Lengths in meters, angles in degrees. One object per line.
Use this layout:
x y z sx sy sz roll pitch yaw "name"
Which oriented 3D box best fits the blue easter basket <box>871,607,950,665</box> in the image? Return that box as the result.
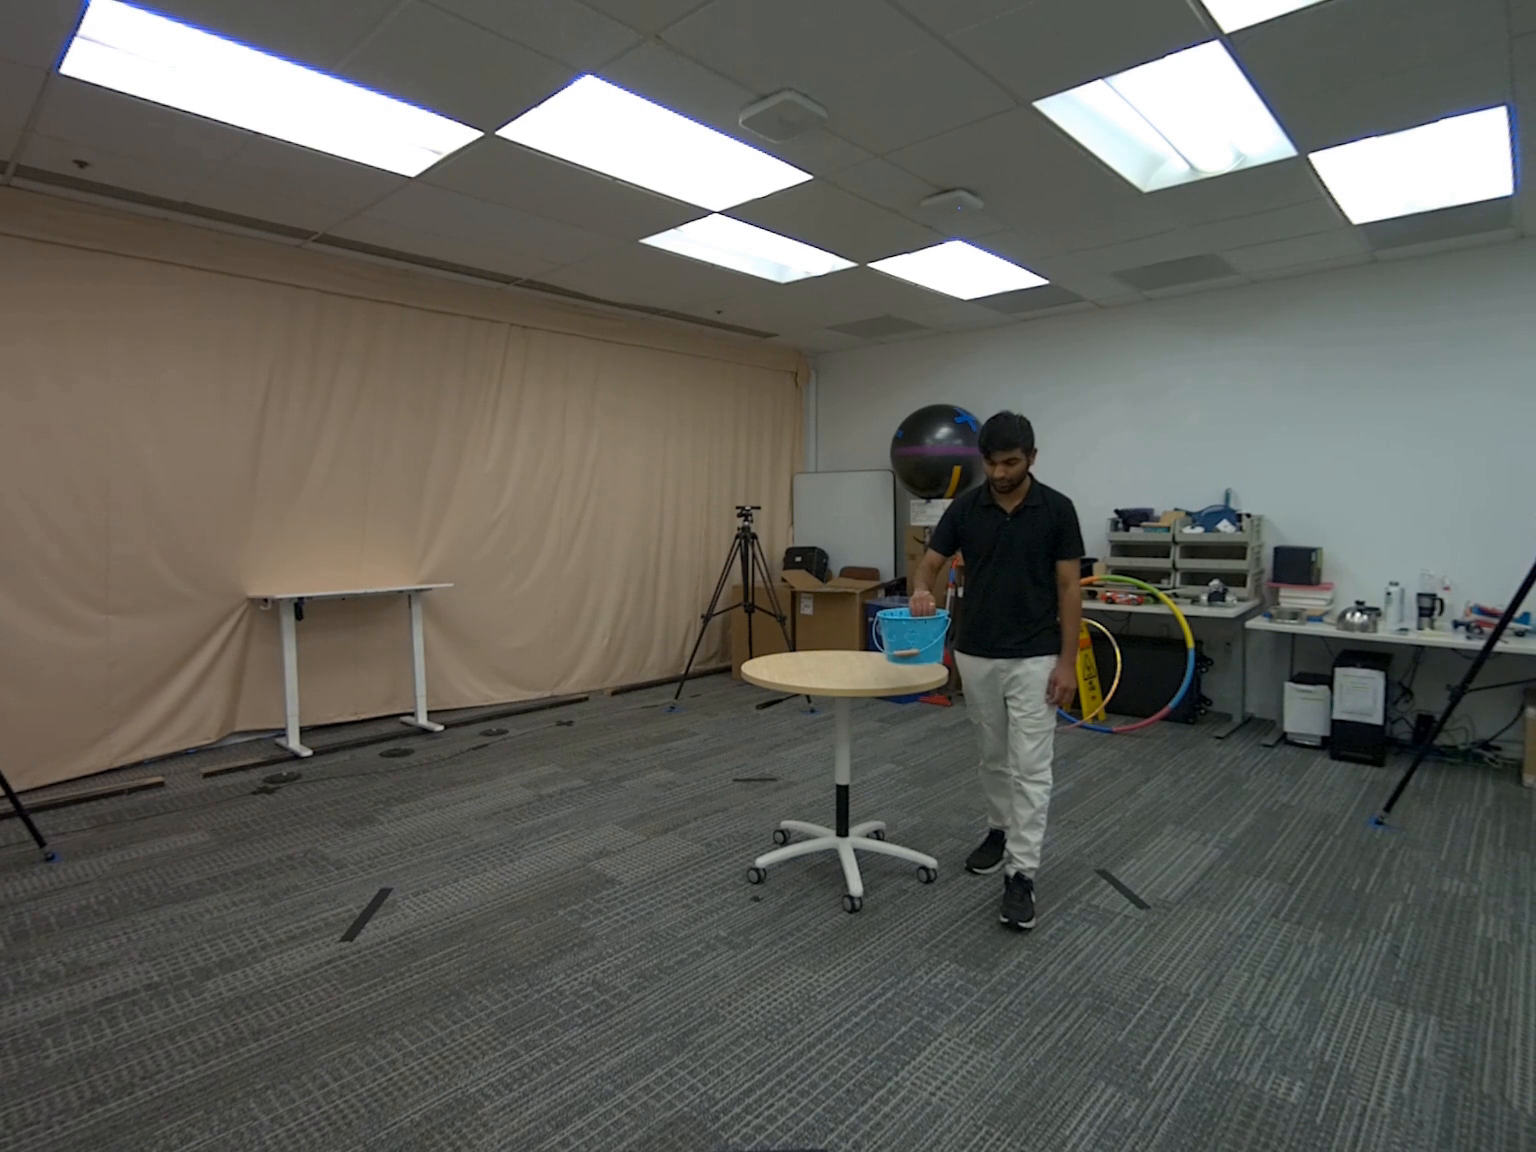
0.473 0.194 2.725 0.243 0.155 0.244 0 3 -2 "blue easter basket"
